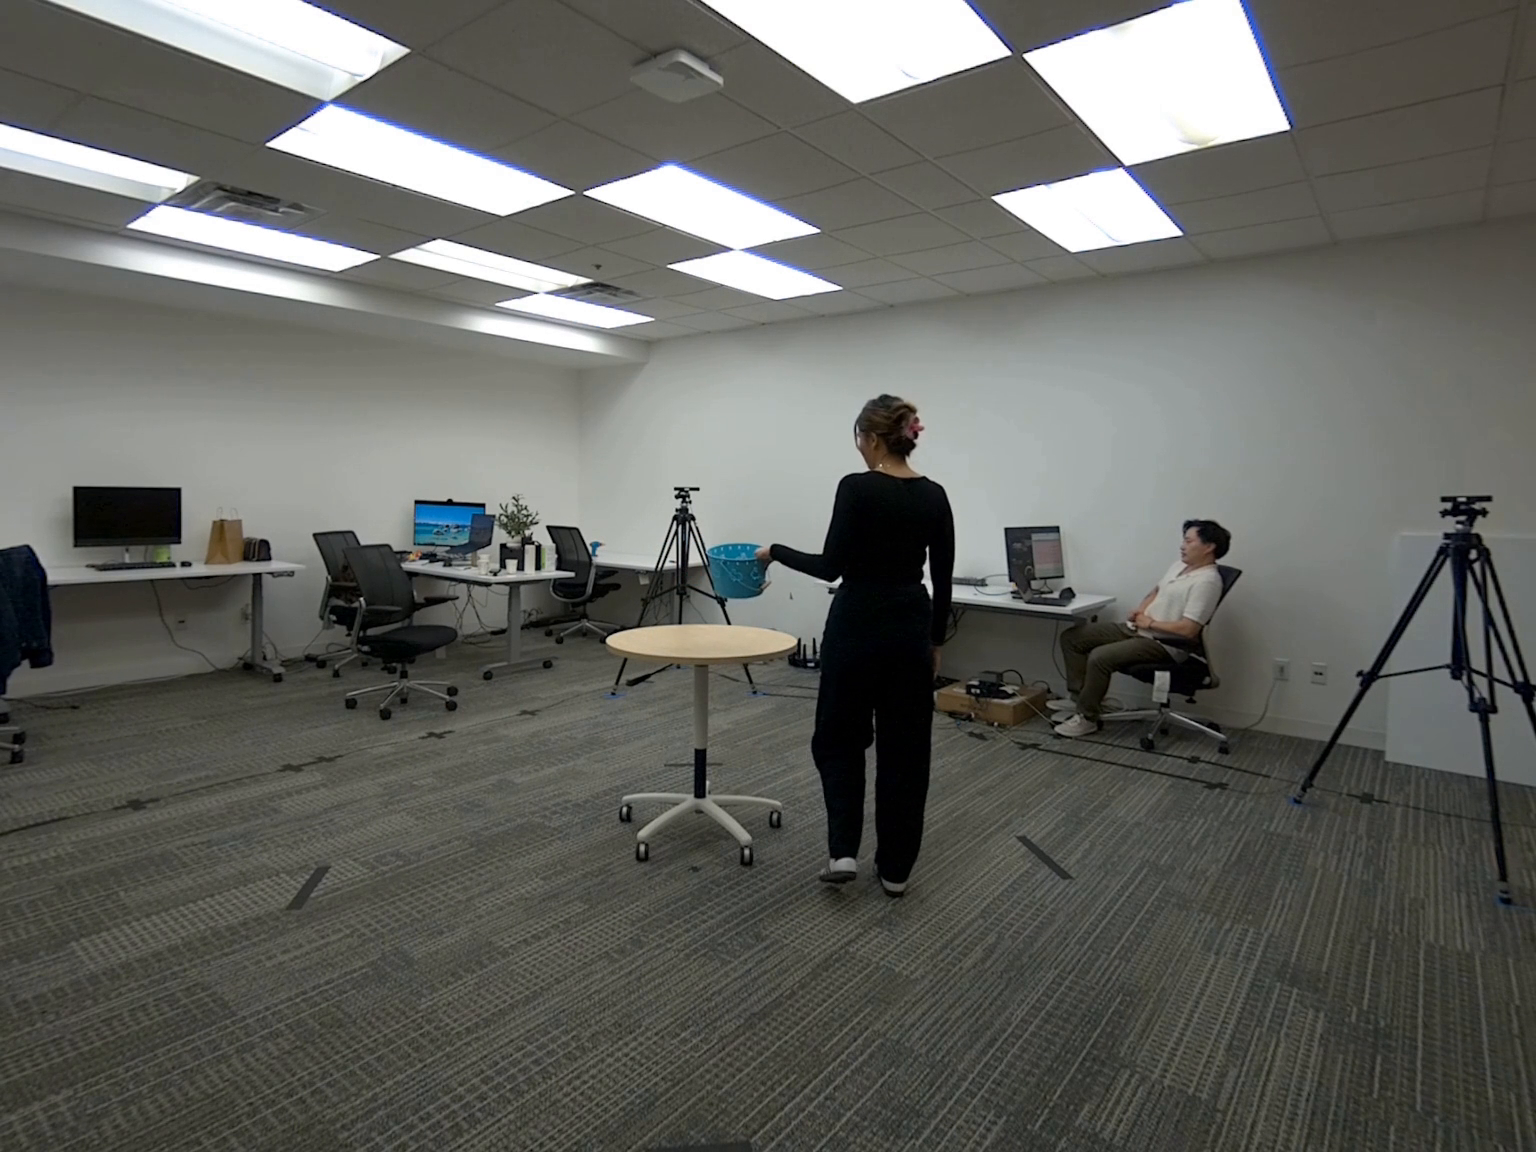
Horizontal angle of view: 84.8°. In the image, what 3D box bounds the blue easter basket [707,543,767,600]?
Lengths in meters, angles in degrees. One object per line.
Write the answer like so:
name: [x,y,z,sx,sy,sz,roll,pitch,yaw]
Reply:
blue easter basket: [-0.117,-0.016,3.080,0.243,0.154,0.247,-1,13,-2]
